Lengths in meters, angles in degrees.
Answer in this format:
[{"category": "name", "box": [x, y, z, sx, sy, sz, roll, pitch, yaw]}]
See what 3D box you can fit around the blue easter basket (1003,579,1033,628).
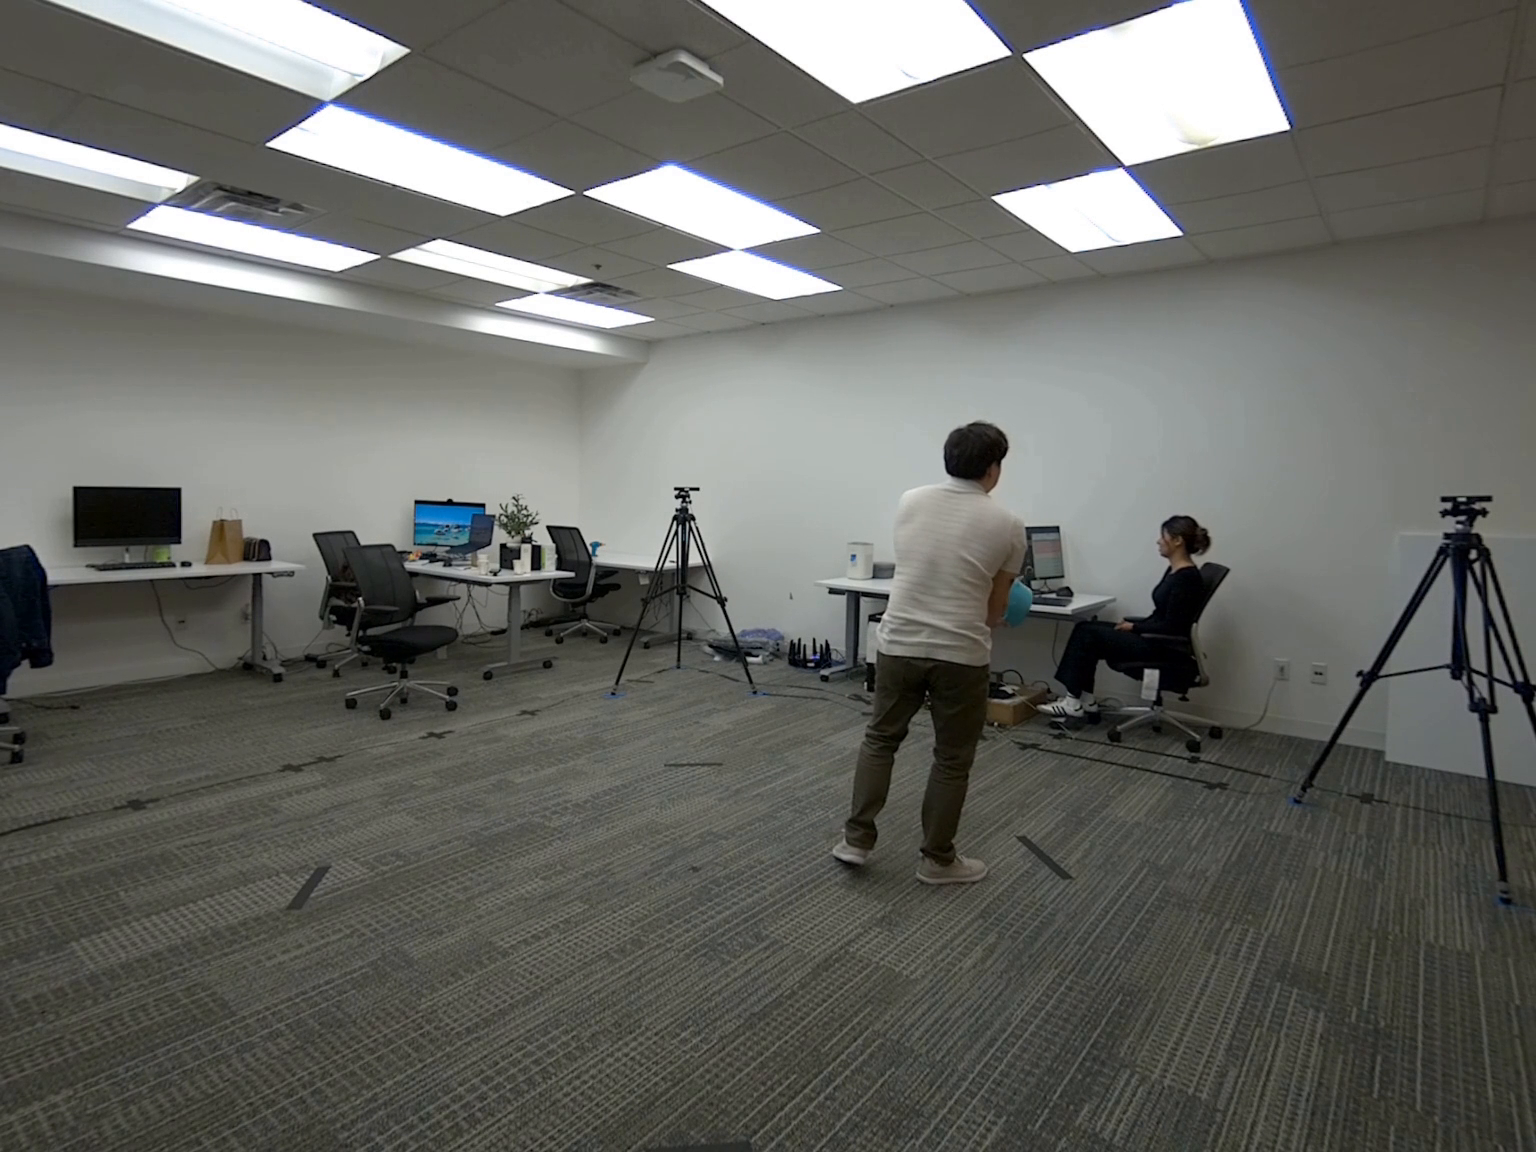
[{"category": "blue easter basket", "box": [0.906, 0.084, 3.379, 0.153, 0.244, 0.248, 25, -2, -15]}]
